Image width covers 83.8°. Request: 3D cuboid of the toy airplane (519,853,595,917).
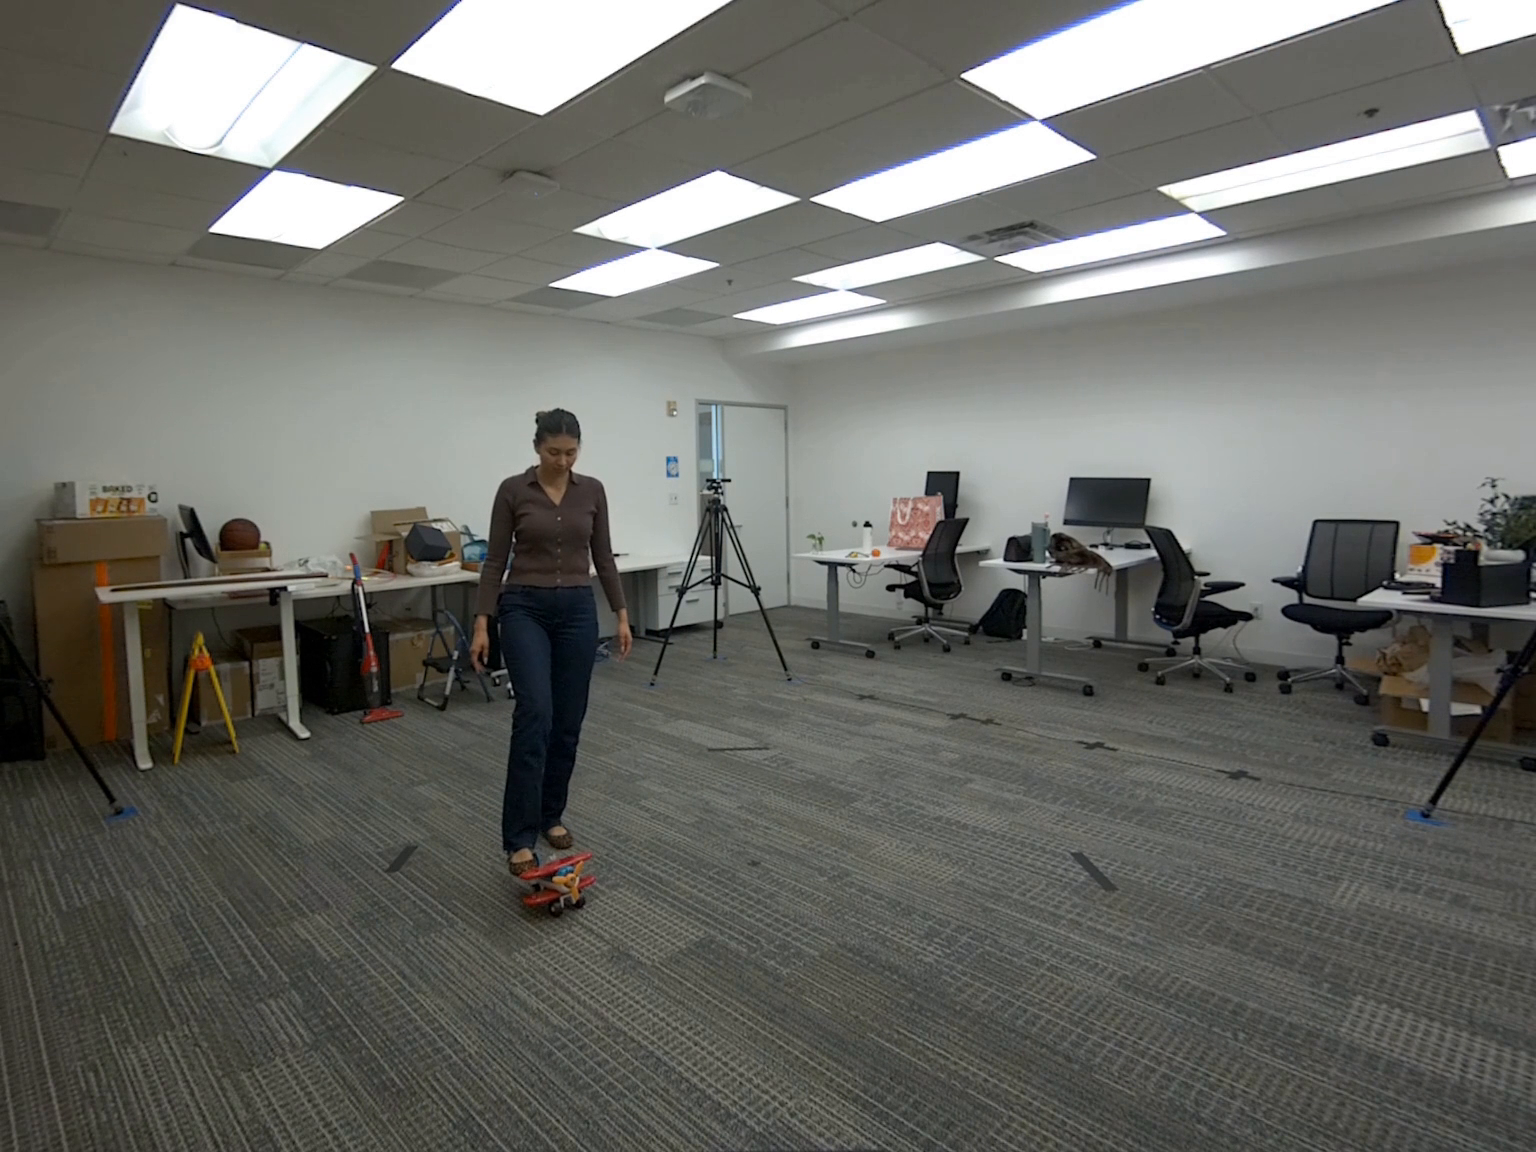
[{"bbox_3d":[-0.716,1.016,2.828,0.264,0.155,0.247,1,7,21],"label":"toy airplane"}]
